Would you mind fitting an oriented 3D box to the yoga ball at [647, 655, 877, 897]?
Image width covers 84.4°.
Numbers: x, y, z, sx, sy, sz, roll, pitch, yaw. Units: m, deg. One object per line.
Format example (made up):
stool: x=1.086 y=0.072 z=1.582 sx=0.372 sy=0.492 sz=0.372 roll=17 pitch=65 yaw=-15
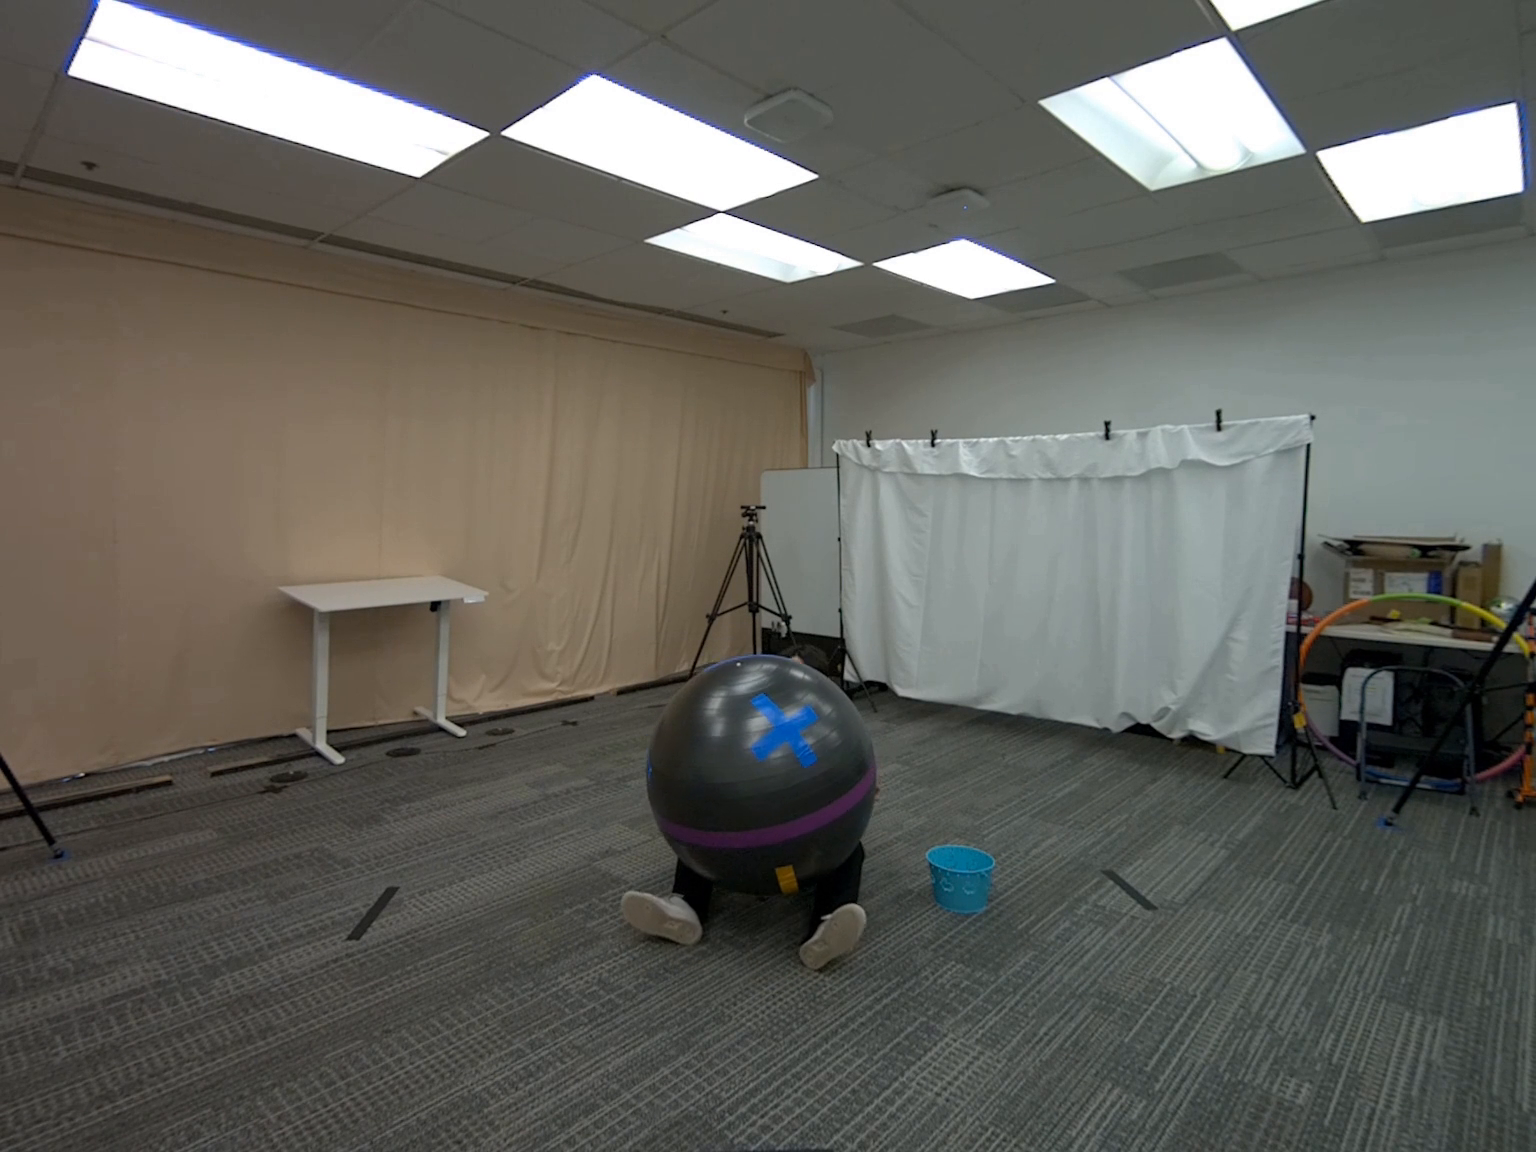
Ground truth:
yoga ball: x=-0.027 y=0.659 z=2.781 sx=0.757 sy=0.756 sz=0.760 roll=0 pitch=4 yaw=-2
